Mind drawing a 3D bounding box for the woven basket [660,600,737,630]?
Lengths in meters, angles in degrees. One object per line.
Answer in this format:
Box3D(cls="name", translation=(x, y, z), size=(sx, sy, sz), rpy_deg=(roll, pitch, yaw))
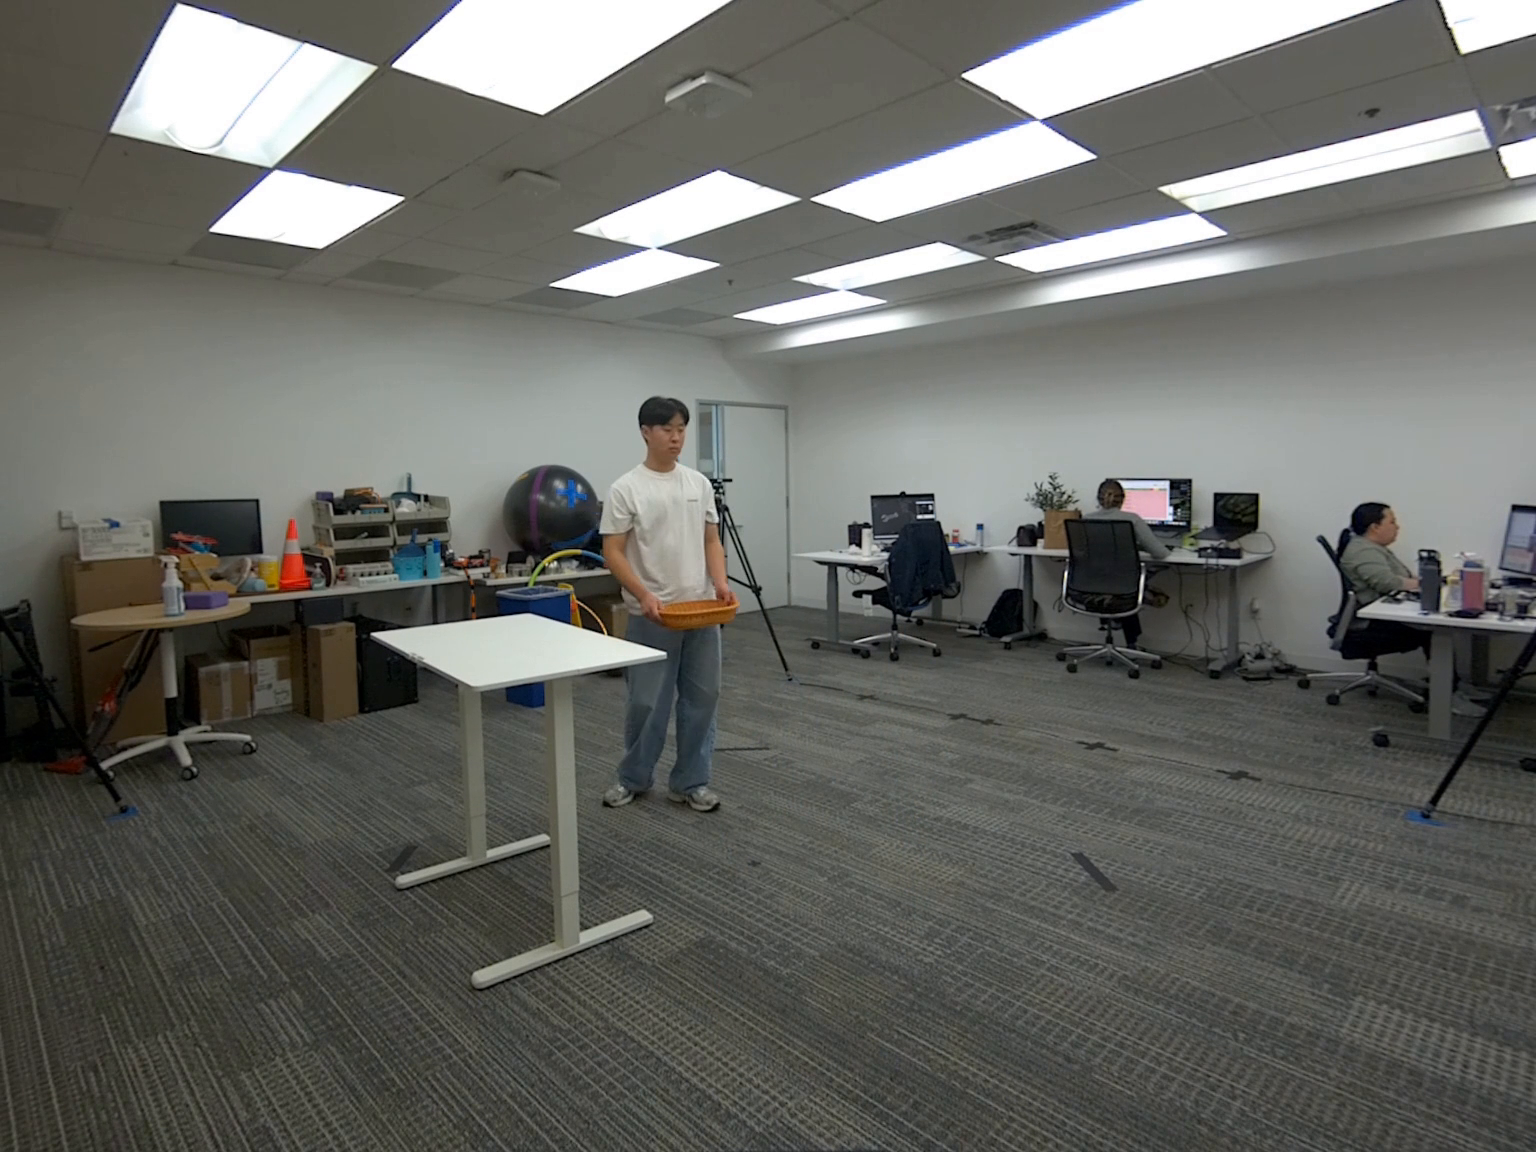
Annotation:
Box3D(cls="woven basket", translation=(-0.298, 0.158, 3.427), size=(0.343, 0.073, 0.259), rpy_deg=(-7, 8, -29))
